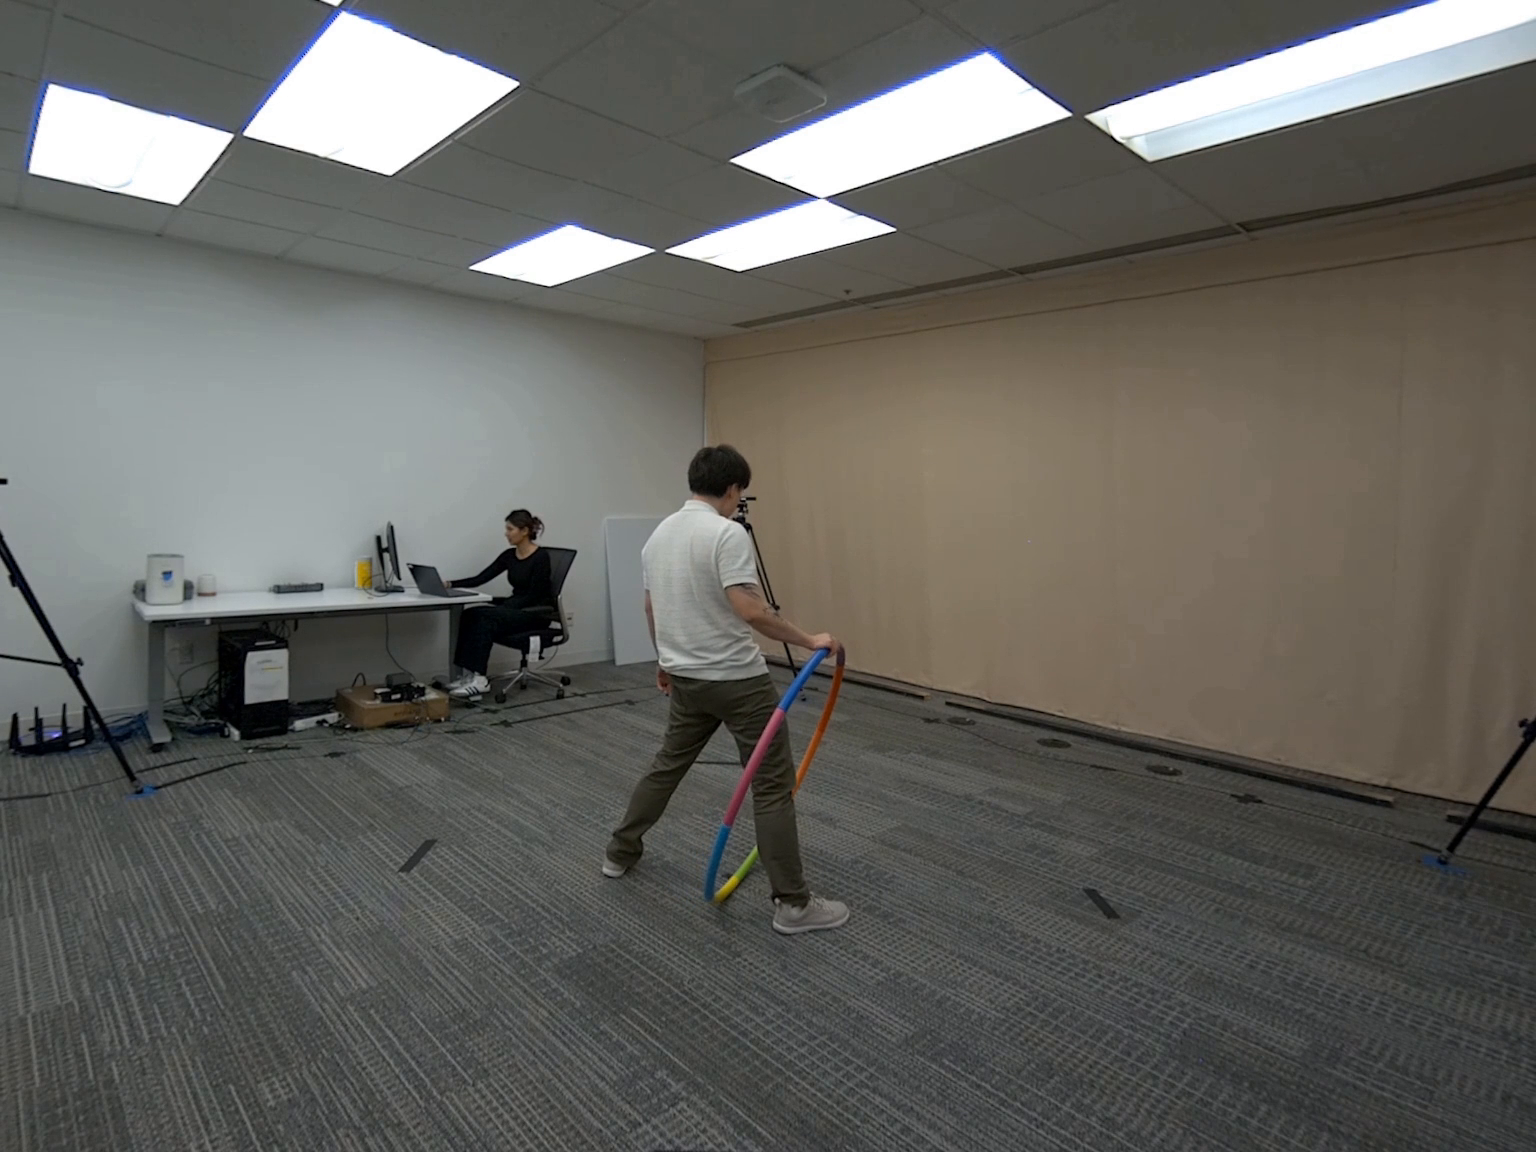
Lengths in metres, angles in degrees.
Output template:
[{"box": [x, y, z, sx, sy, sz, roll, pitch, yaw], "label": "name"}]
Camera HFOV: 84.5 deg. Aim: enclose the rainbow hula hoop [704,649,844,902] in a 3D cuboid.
[{"box": [0.034, 0.671, 2.922, 0.036, 0.974, 0.966, 25, 12, 15], "label": "rainbow hula hoop"}]
